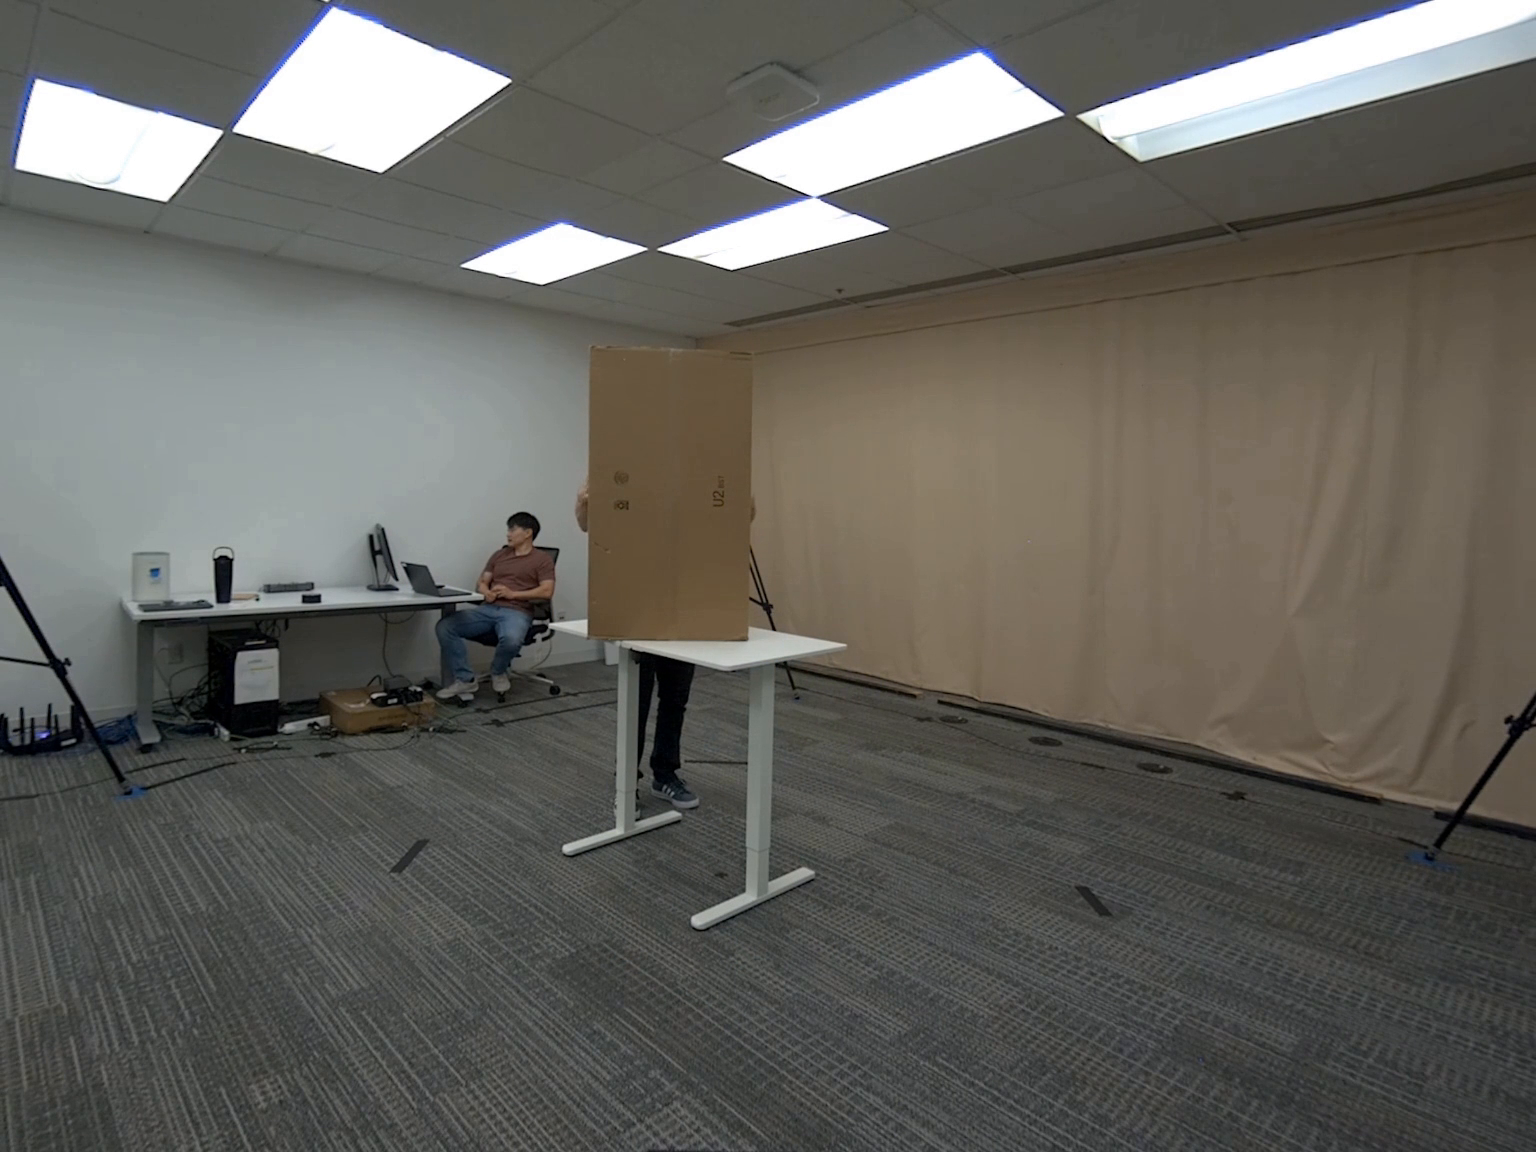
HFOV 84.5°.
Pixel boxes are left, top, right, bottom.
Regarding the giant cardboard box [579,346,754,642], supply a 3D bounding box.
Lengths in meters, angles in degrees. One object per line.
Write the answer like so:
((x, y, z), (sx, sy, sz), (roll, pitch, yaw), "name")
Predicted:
((-0.379, -0.298, 3.145), (0.575, 1.023, 0.429), (0, 3, -6), "giant cardboard box")
